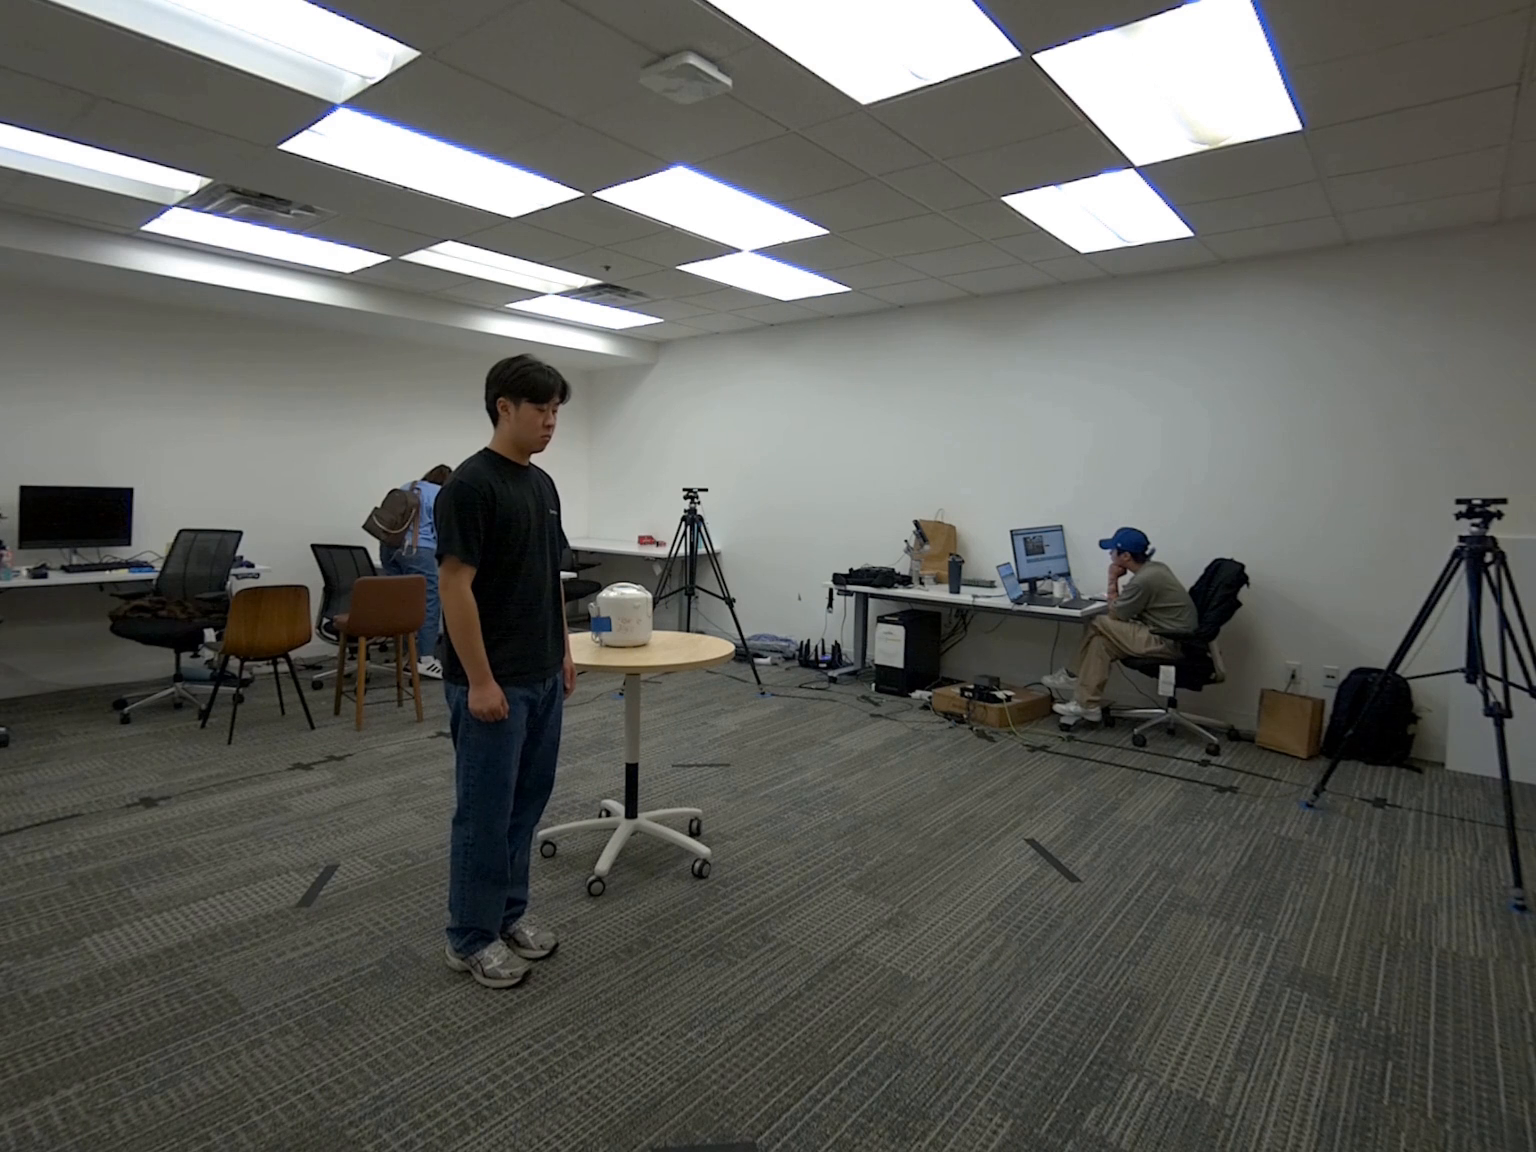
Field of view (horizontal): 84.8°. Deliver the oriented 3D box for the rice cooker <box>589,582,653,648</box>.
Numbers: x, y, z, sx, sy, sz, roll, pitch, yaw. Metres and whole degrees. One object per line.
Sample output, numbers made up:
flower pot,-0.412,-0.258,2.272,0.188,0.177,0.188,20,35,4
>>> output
rice cooker,-0.560,0.139,3.237,0.225,0.232,0.214,2,4,18
